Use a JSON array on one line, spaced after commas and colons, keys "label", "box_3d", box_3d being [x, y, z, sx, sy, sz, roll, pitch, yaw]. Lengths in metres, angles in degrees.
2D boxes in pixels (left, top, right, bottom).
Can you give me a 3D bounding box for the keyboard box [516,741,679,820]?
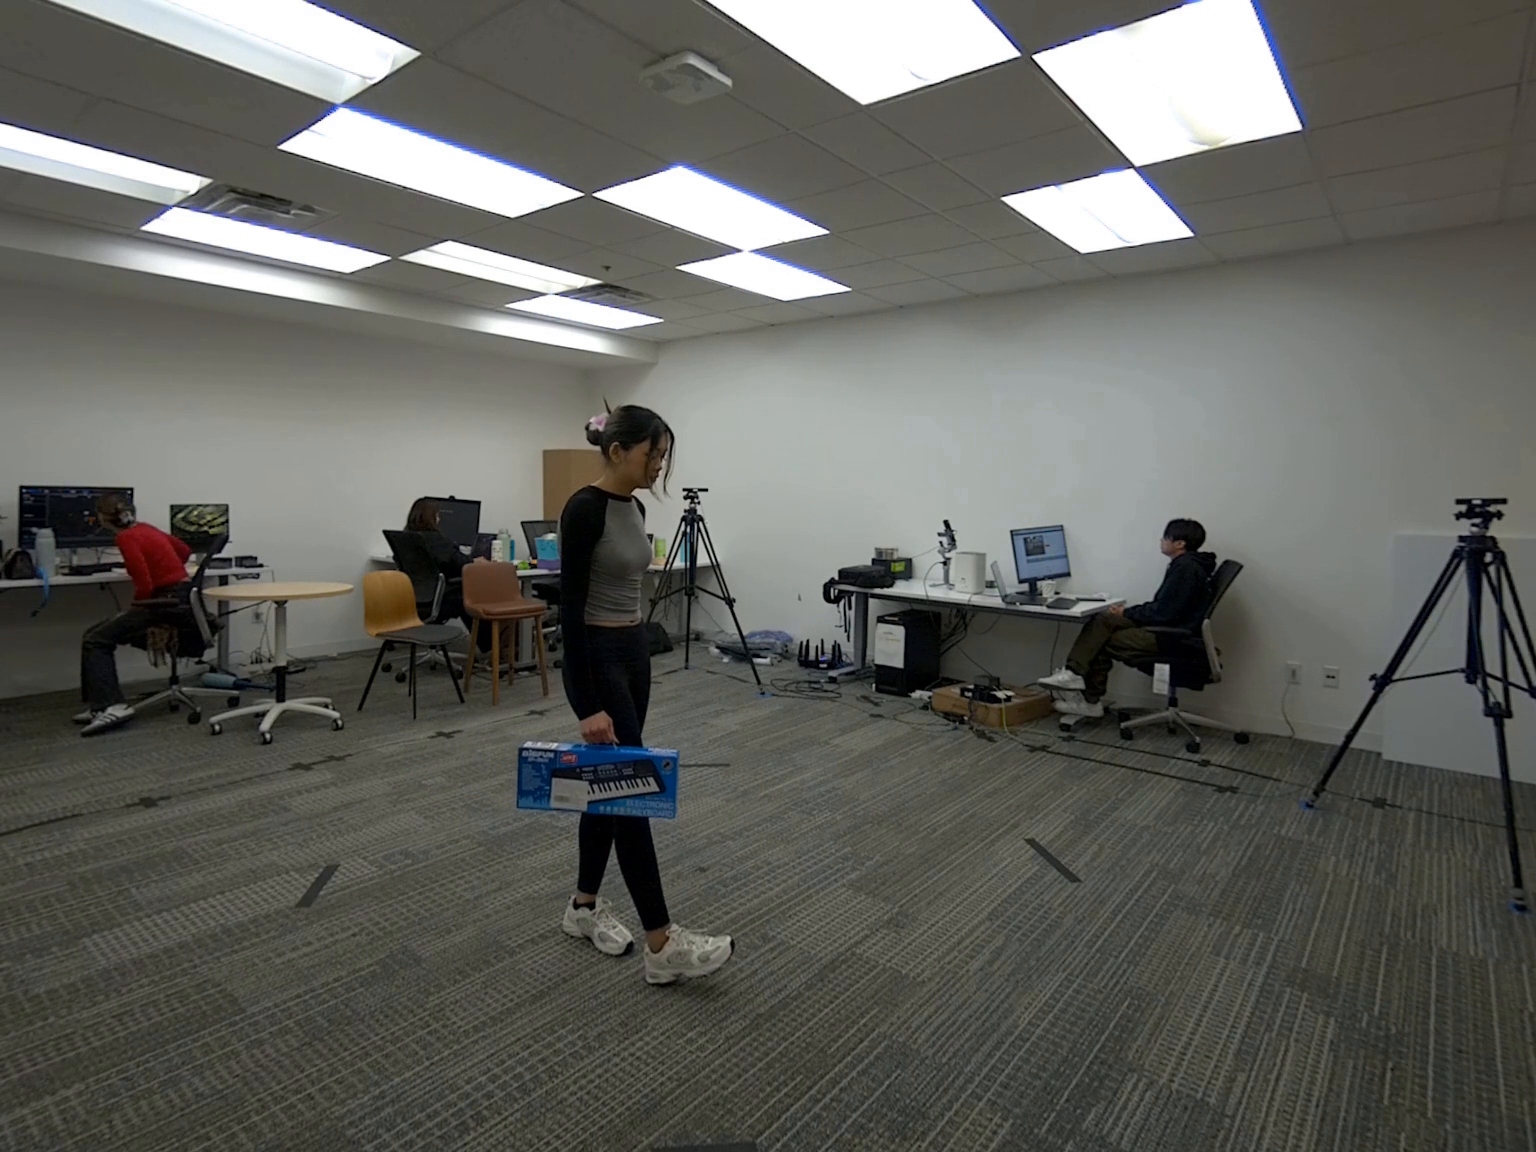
[{"label": "keyboard box", "box_3d": [-0.474, 0.551, 2.333, 0.439, 0.175, 0.059, 2, 3, 4]}]
